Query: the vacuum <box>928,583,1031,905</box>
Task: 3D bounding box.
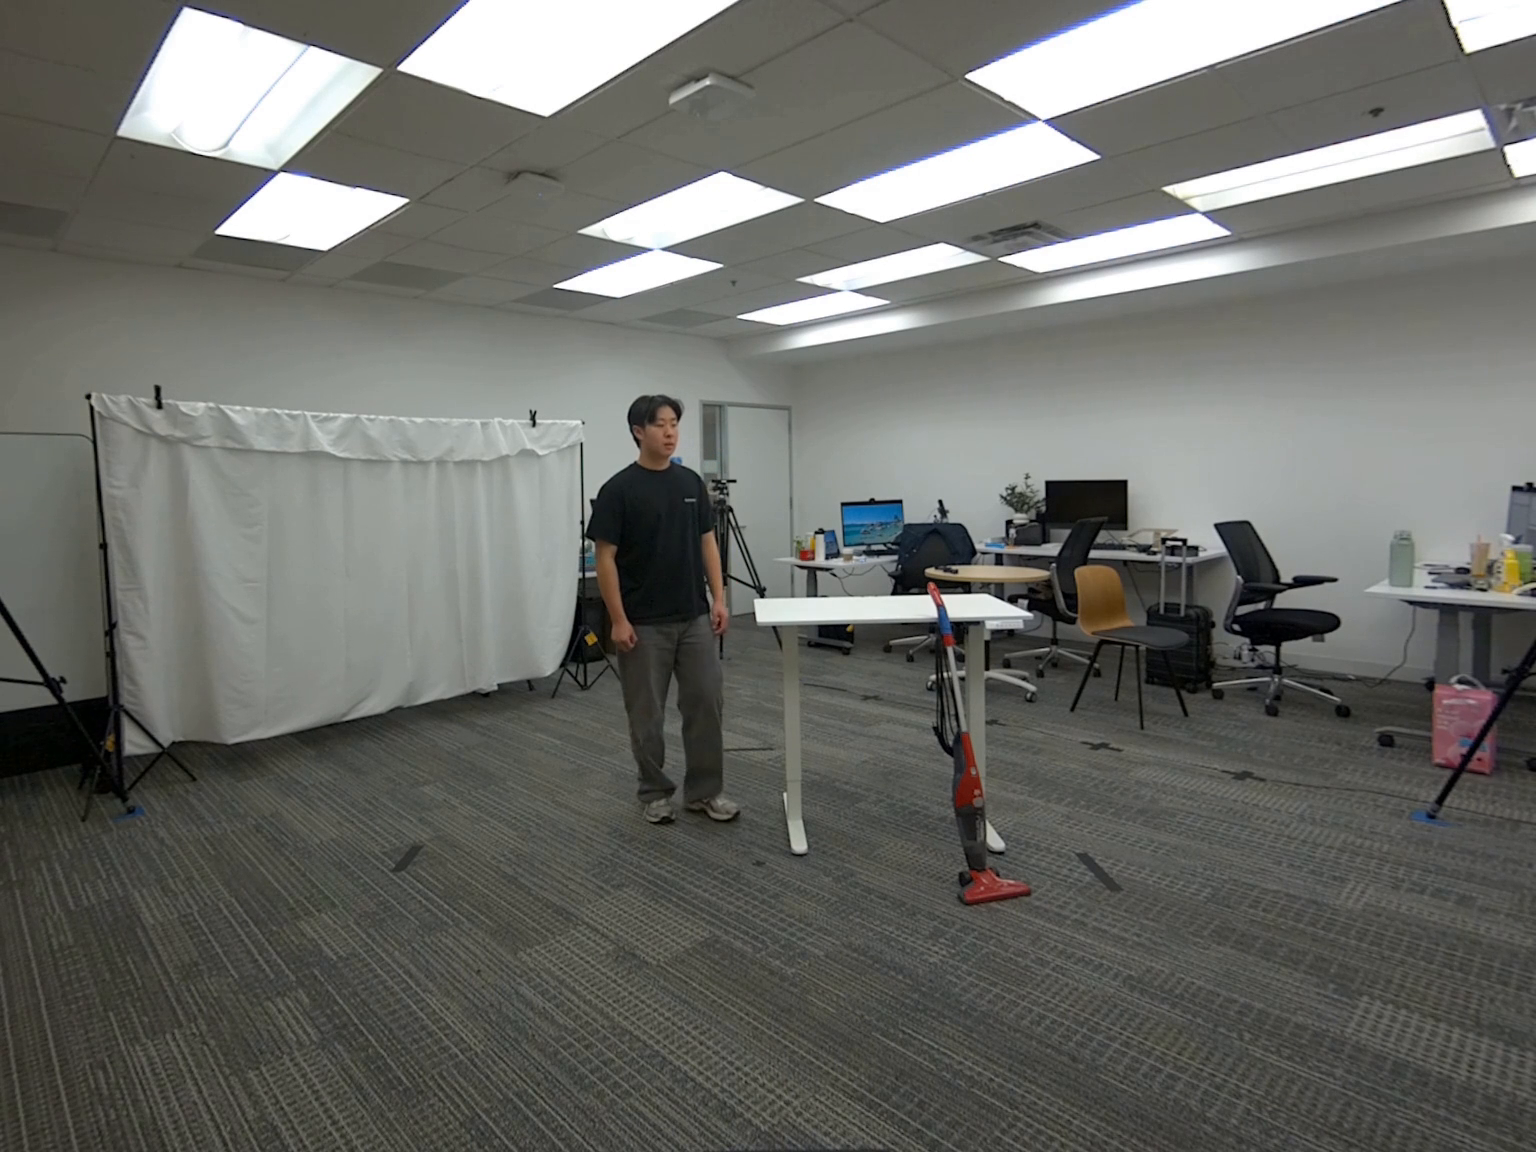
[{"bbox_3d":[0.676,0.553,3.007,0.248,1.065,0.144,-2,-16,-18],"label":"vacuum"}]
